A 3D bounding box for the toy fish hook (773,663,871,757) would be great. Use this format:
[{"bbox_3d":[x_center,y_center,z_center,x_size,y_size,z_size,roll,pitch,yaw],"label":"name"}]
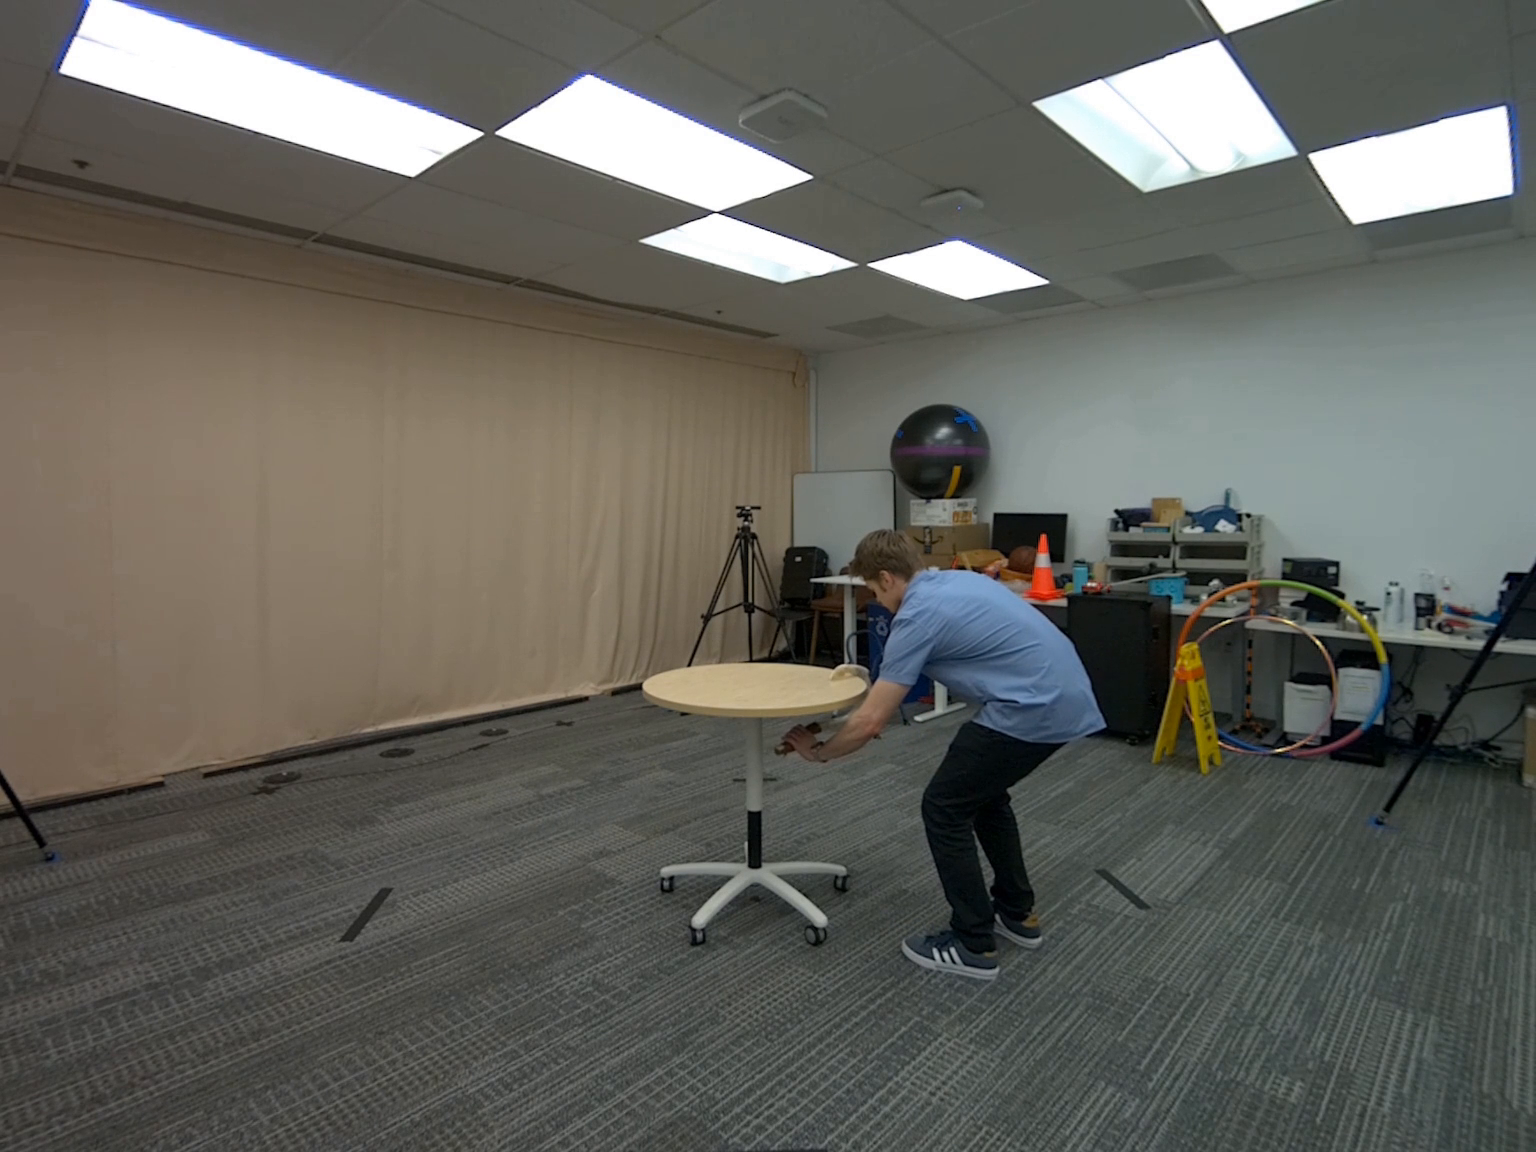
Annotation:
[{"bbox_3d":[0.203,0.458,2.902,0.495,0.224,0.049,-20,6,-38],"label":"toy fish hook"}]
